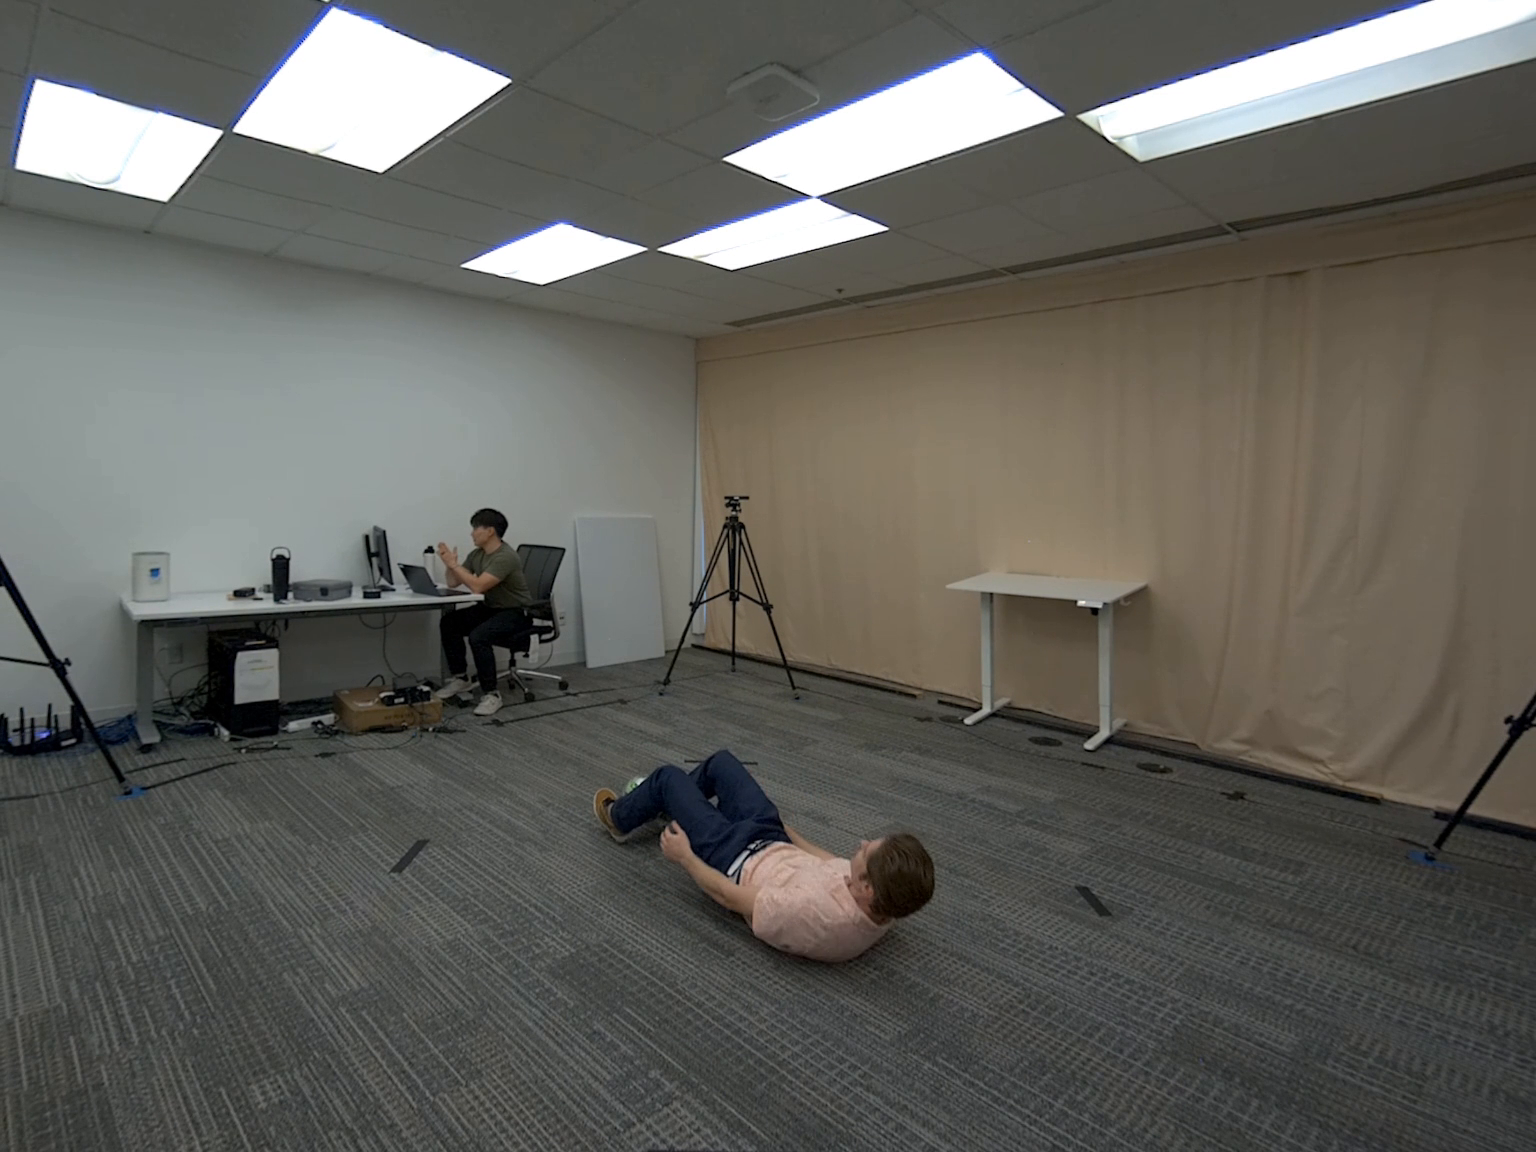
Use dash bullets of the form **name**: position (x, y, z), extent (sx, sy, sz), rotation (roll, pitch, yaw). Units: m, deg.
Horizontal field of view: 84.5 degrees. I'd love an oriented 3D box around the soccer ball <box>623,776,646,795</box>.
- **soccer ball**: position (-0.496, 0.904, 3.417), extent (0.187, 0.187, 0.188), rotation (1, 4, -1)
